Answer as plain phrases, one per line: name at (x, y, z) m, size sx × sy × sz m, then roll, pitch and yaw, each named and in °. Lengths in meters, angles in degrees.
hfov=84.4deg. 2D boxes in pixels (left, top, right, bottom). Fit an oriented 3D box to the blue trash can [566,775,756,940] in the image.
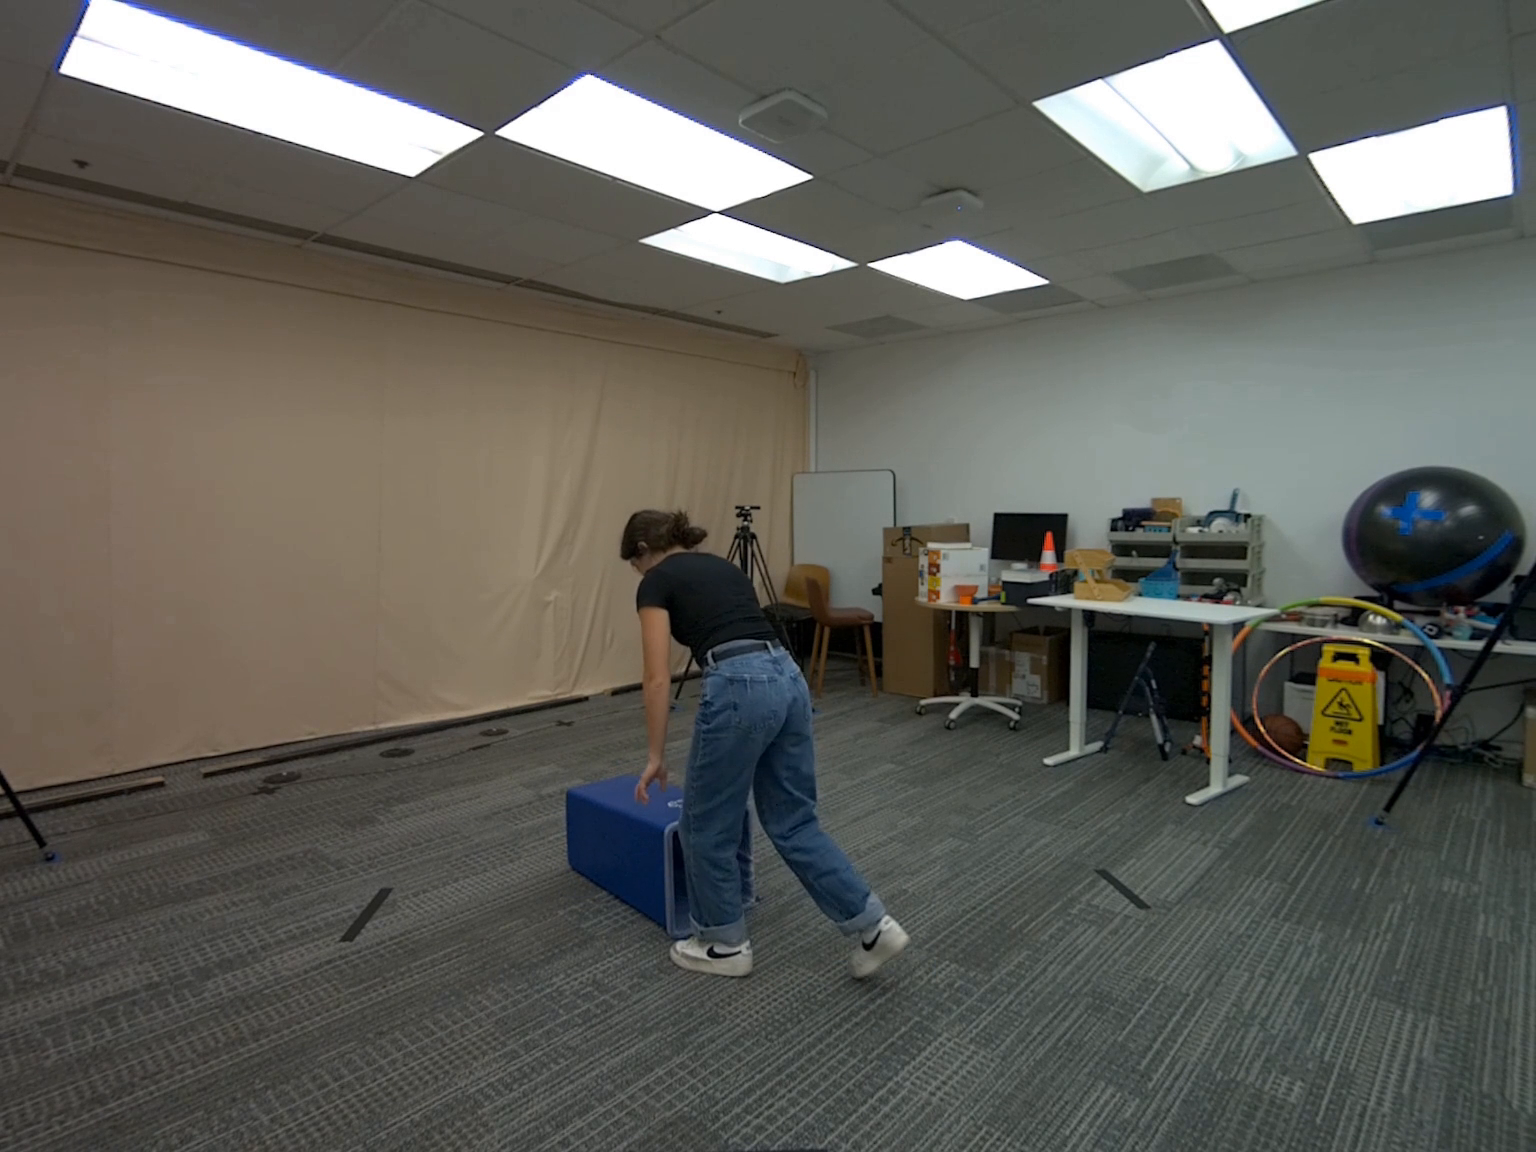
blue trash can at (-0.427, 0.973, 3.069) m, size 0.363 × 0.378 × 0.736 m, roll -4°, pitch 3°, yaw -43°
